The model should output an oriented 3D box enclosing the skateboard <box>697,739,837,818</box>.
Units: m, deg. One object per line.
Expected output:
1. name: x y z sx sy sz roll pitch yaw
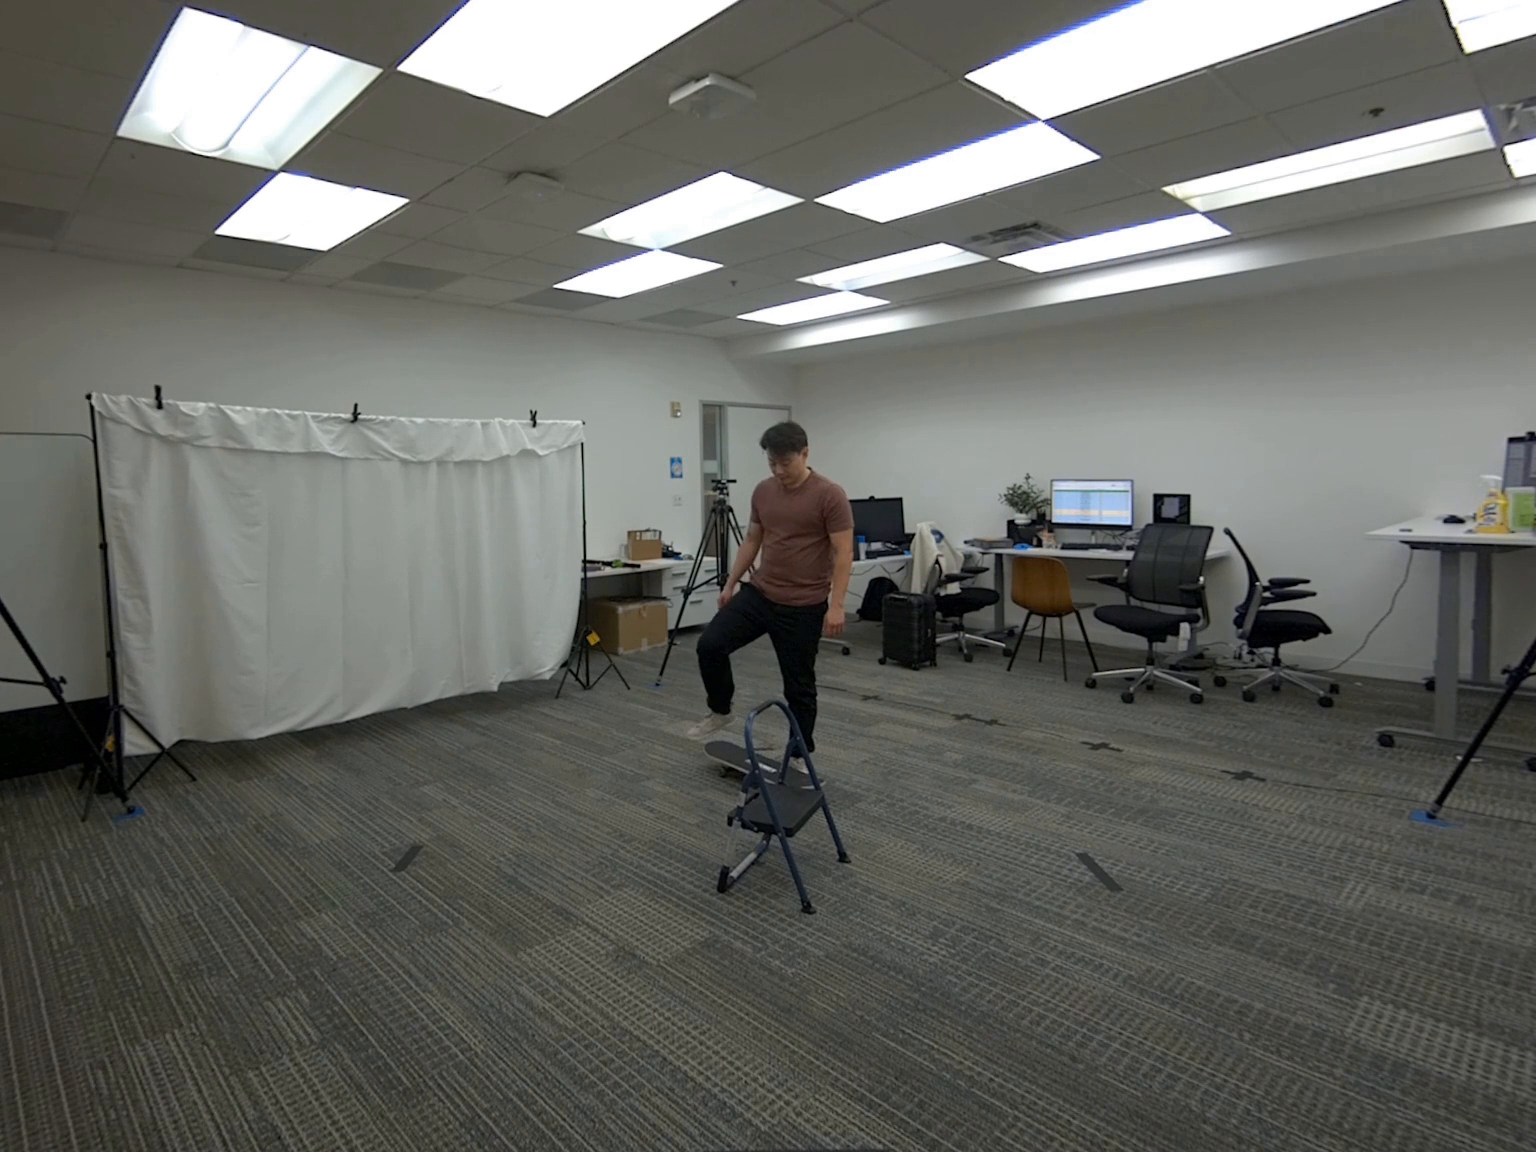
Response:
1. skateboard: -0.027 0.907 3.915 0.188 0.110 0.809 -4 7 -36
